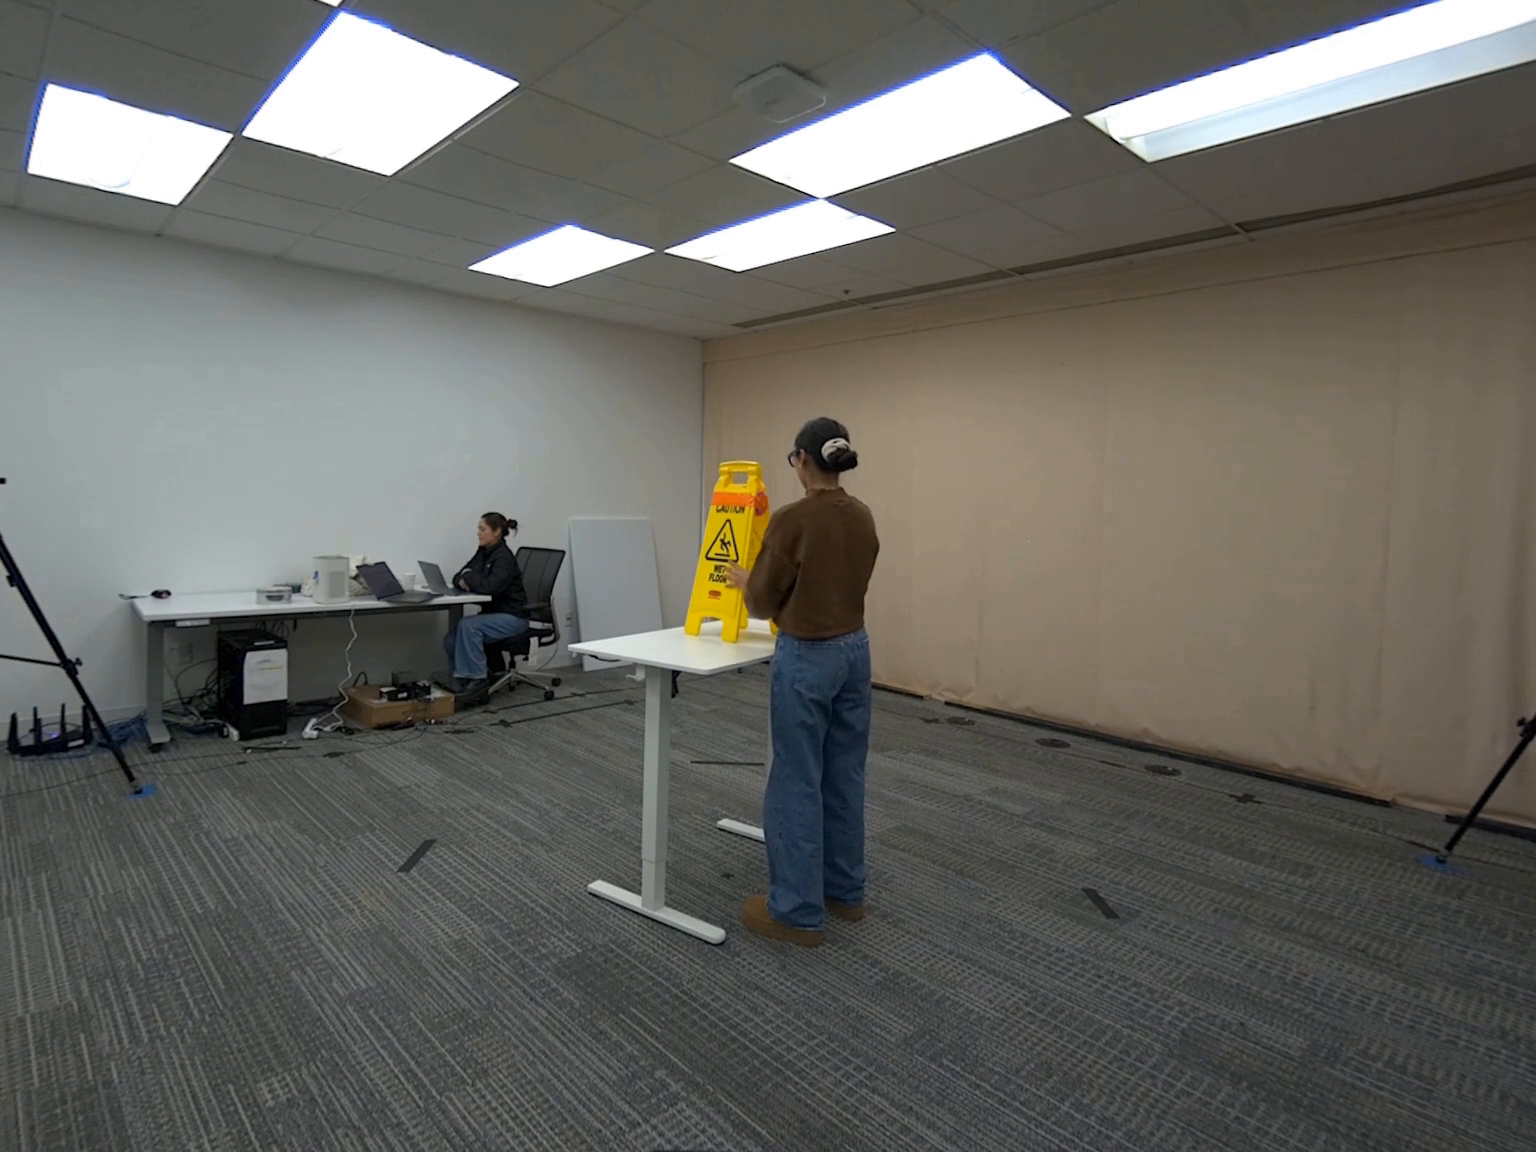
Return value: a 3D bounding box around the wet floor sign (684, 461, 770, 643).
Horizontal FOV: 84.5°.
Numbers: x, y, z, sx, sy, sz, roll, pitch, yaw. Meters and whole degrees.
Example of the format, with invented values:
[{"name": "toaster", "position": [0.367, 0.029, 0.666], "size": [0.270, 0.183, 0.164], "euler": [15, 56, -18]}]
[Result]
[{"name": "wet floor sign", "position": [-0.121, -0.099, 3.142], "size": [0.289, 0.644, 0.283], "euler": [4, 5, 44]}]
